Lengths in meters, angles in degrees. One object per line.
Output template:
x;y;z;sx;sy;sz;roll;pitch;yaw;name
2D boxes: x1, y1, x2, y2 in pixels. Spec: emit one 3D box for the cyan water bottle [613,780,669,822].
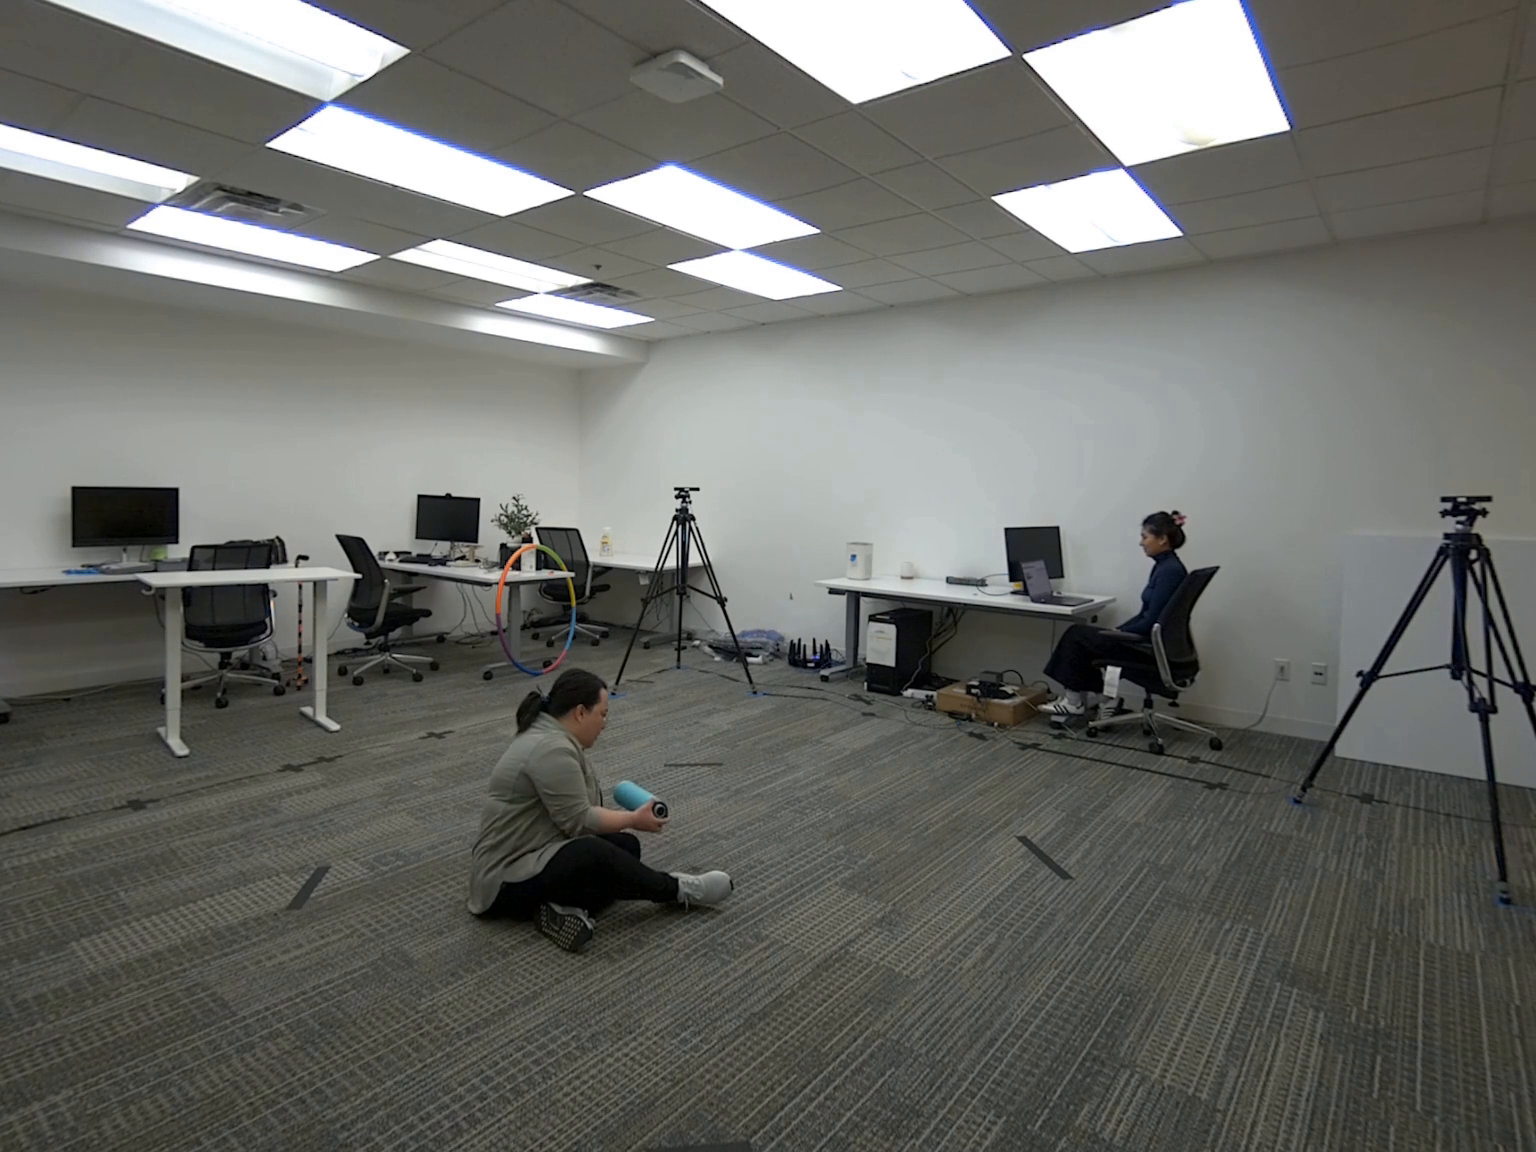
-0.448;0.802;2.988;0.089;0.092;0.293;-2;6;-38;cyan water bottle
